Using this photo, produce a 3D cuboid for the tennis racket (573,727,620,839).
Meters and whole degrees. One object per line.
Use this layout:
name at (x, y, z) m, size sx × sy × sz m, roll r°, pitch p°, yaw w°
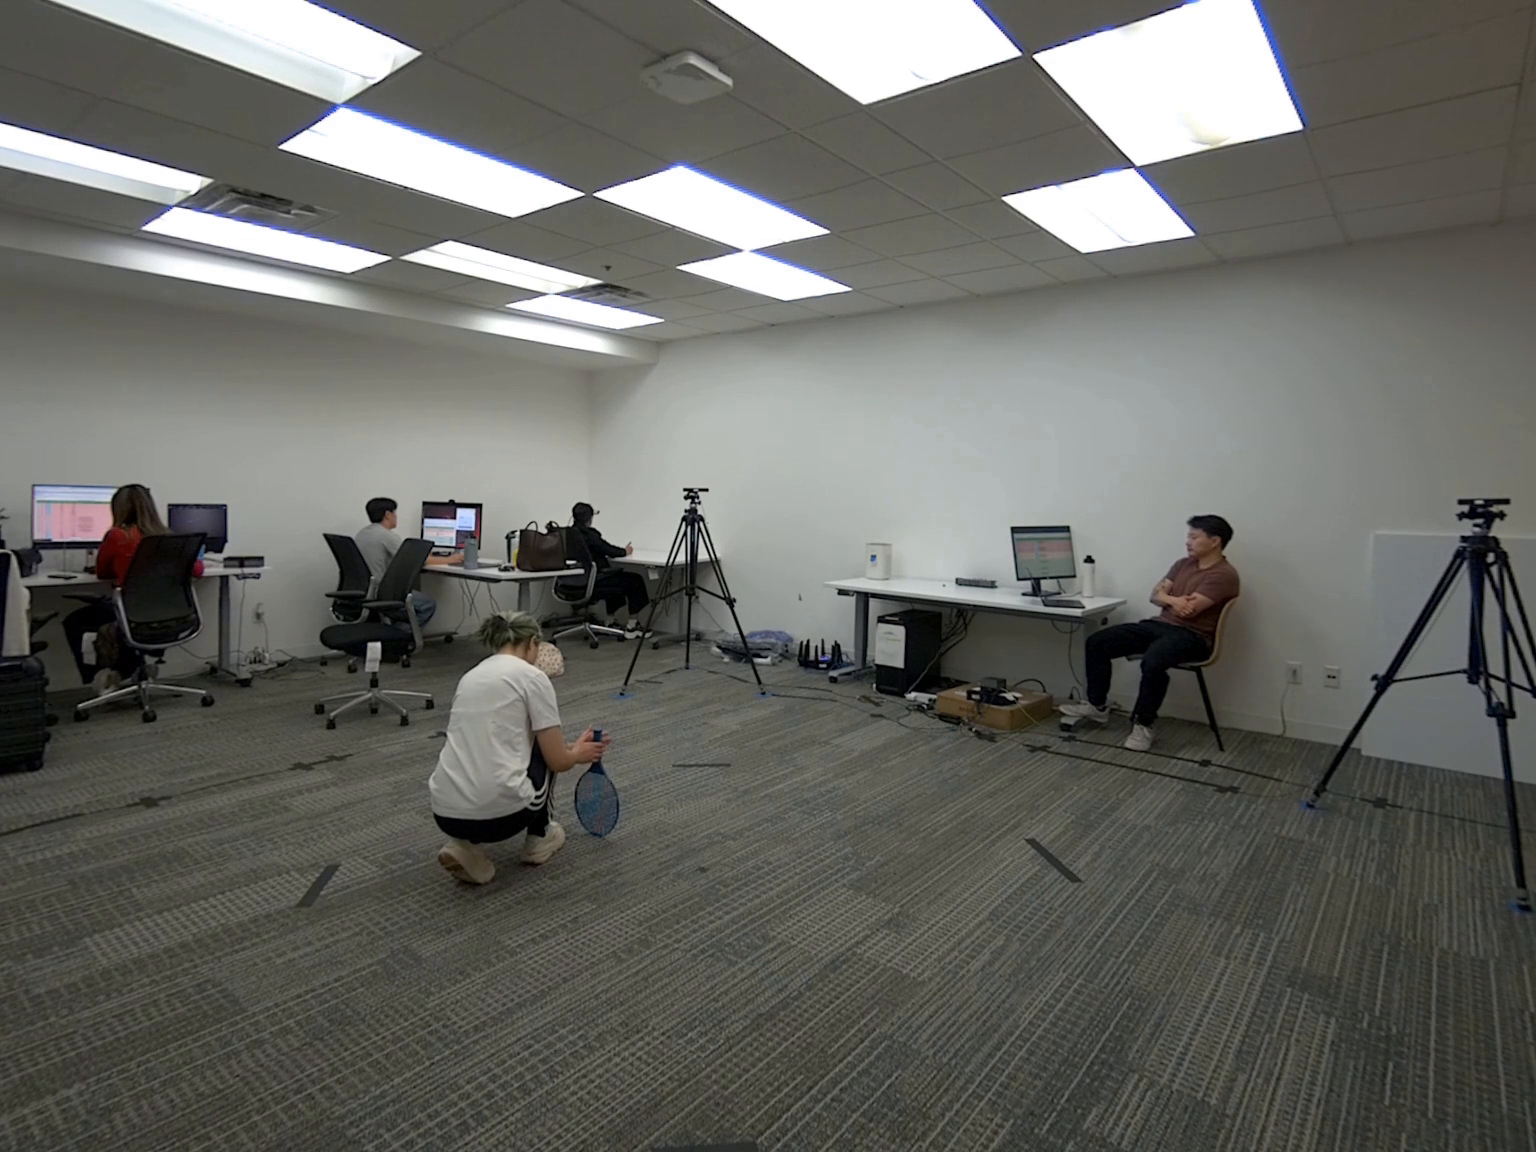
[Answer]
tennis racket at (-0.699, 0.818, 3.381) m, size 0.219 × 0.431 × 0.031 m, roll 4°, pitch 4°, yaw 24°
